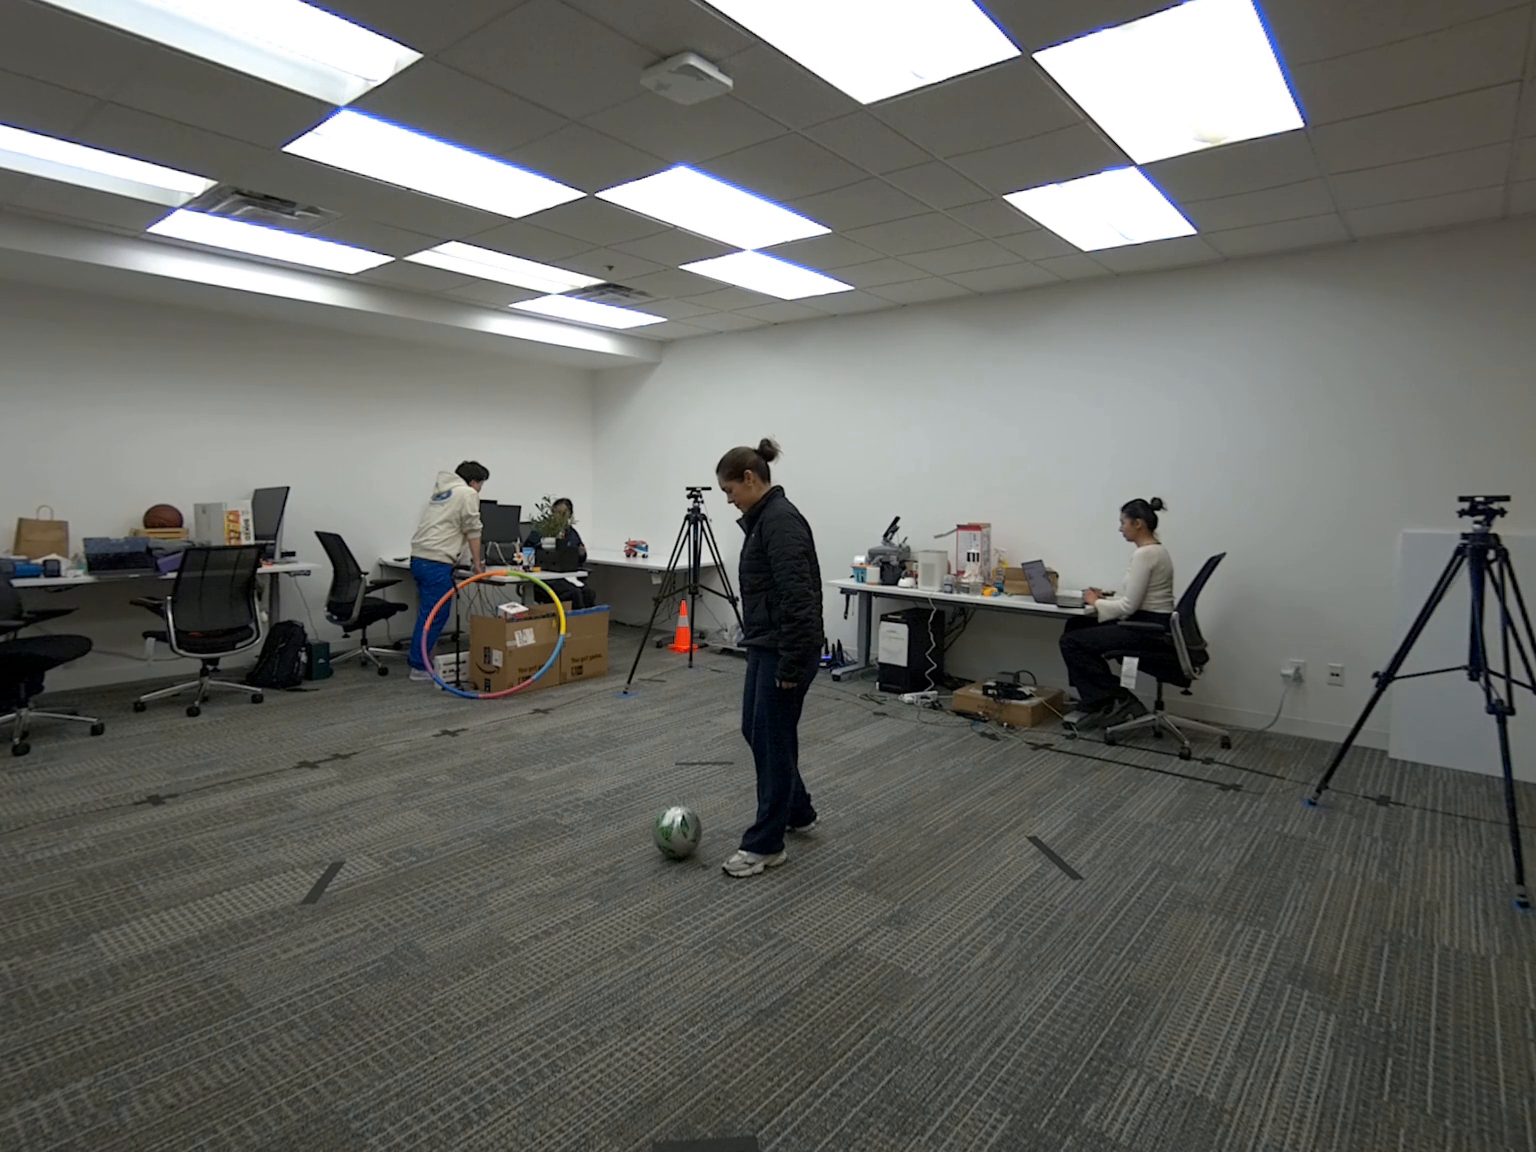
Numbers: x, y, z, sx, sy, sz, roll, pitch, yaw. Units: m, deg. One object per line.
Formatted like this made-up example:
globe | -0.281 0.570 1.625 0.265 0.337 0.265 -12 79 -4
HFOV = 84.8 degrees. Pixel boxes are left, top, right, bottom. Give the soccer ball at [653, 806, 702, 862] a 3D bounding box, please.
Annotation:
soccer ball | -0.353 0.957 3.209 0.187 0.187 0.188 1 4 -2
